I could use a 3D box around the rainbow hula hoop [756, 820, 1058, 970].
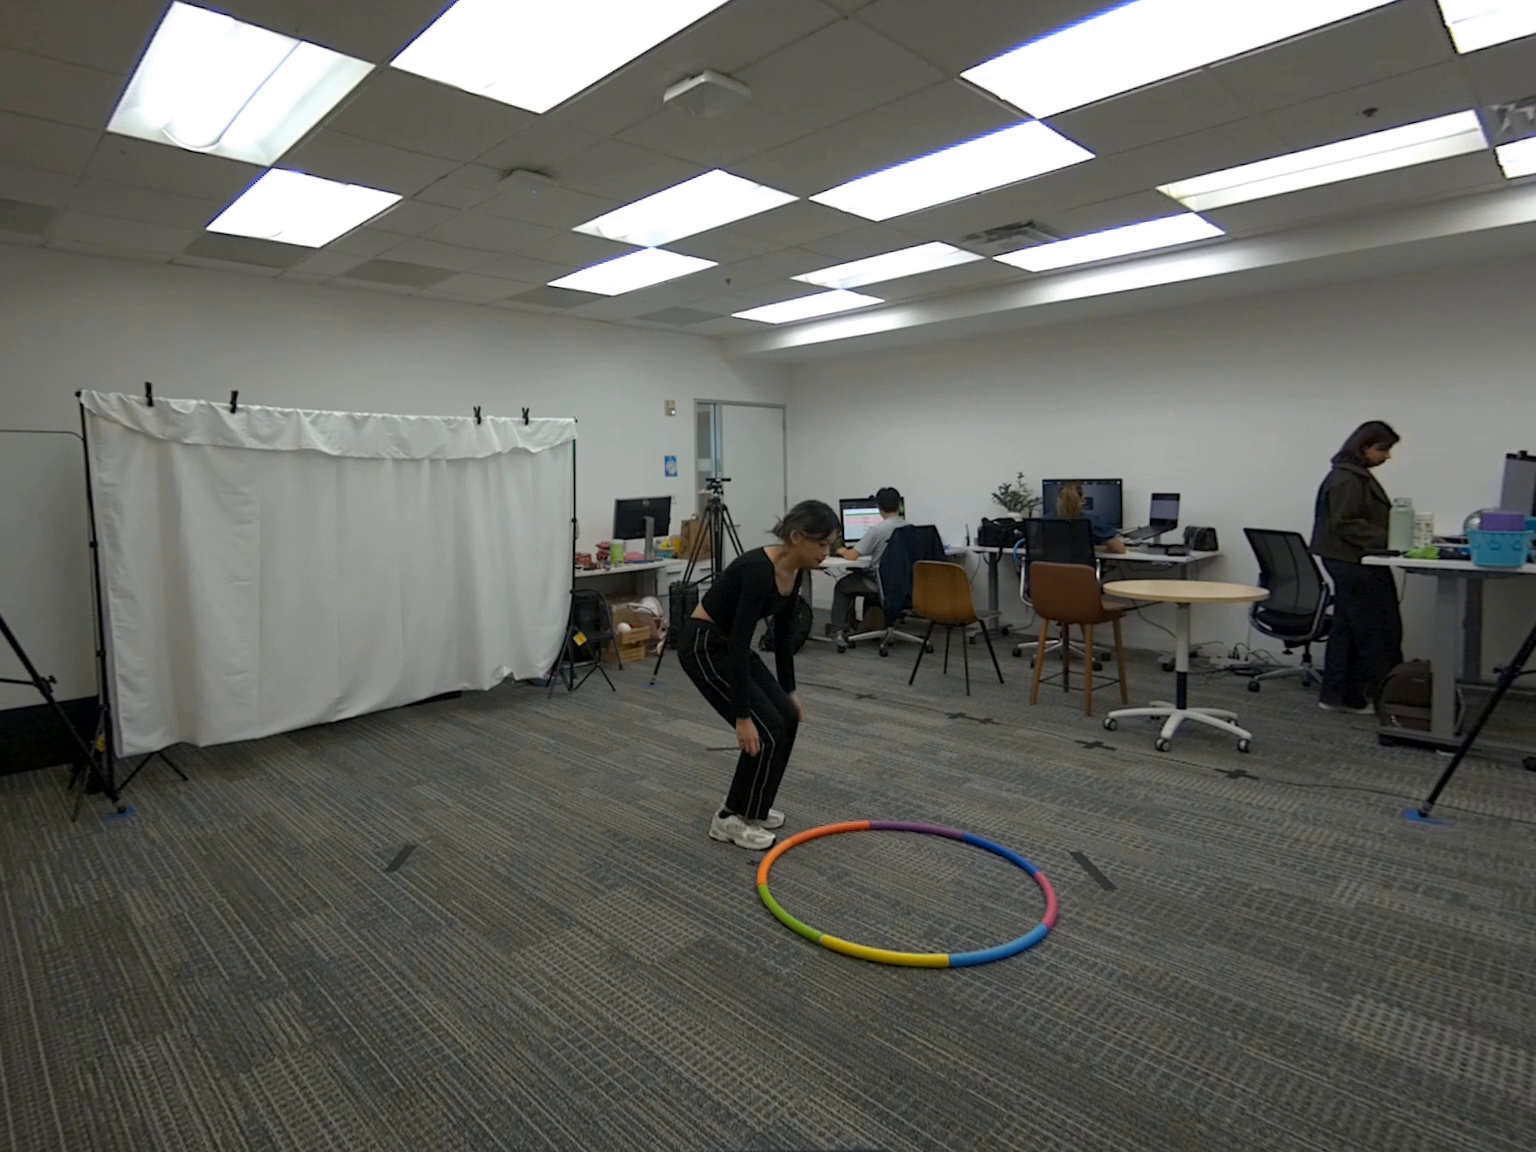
[{"bbox_3d":[0.452,1.027,2.902,0.978,0.035,0.984,-2,6,-2],"label":"rainbow hula hoop"}]
